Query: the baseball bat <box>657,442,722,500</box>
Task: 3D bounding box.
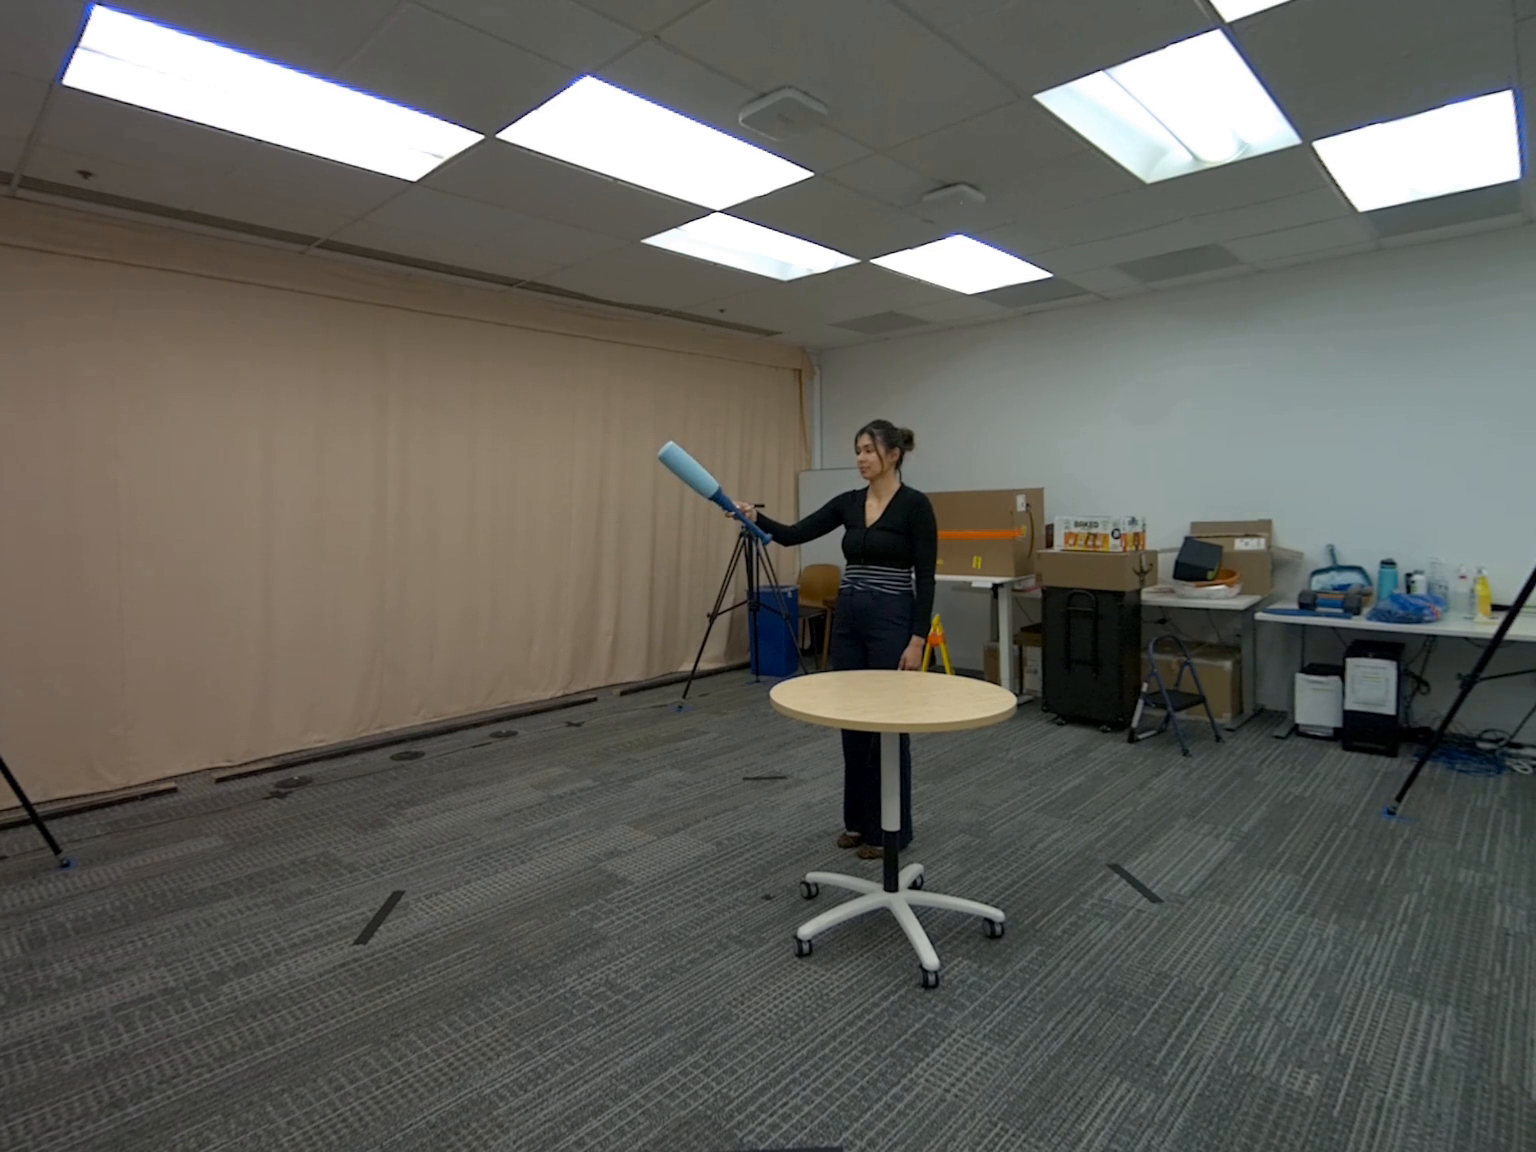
[{"bbox_3d":[-0.189,-0.304,3.154,0.535,0.089,0.090,42,-8,-12],"label":"baseball bat"}]
